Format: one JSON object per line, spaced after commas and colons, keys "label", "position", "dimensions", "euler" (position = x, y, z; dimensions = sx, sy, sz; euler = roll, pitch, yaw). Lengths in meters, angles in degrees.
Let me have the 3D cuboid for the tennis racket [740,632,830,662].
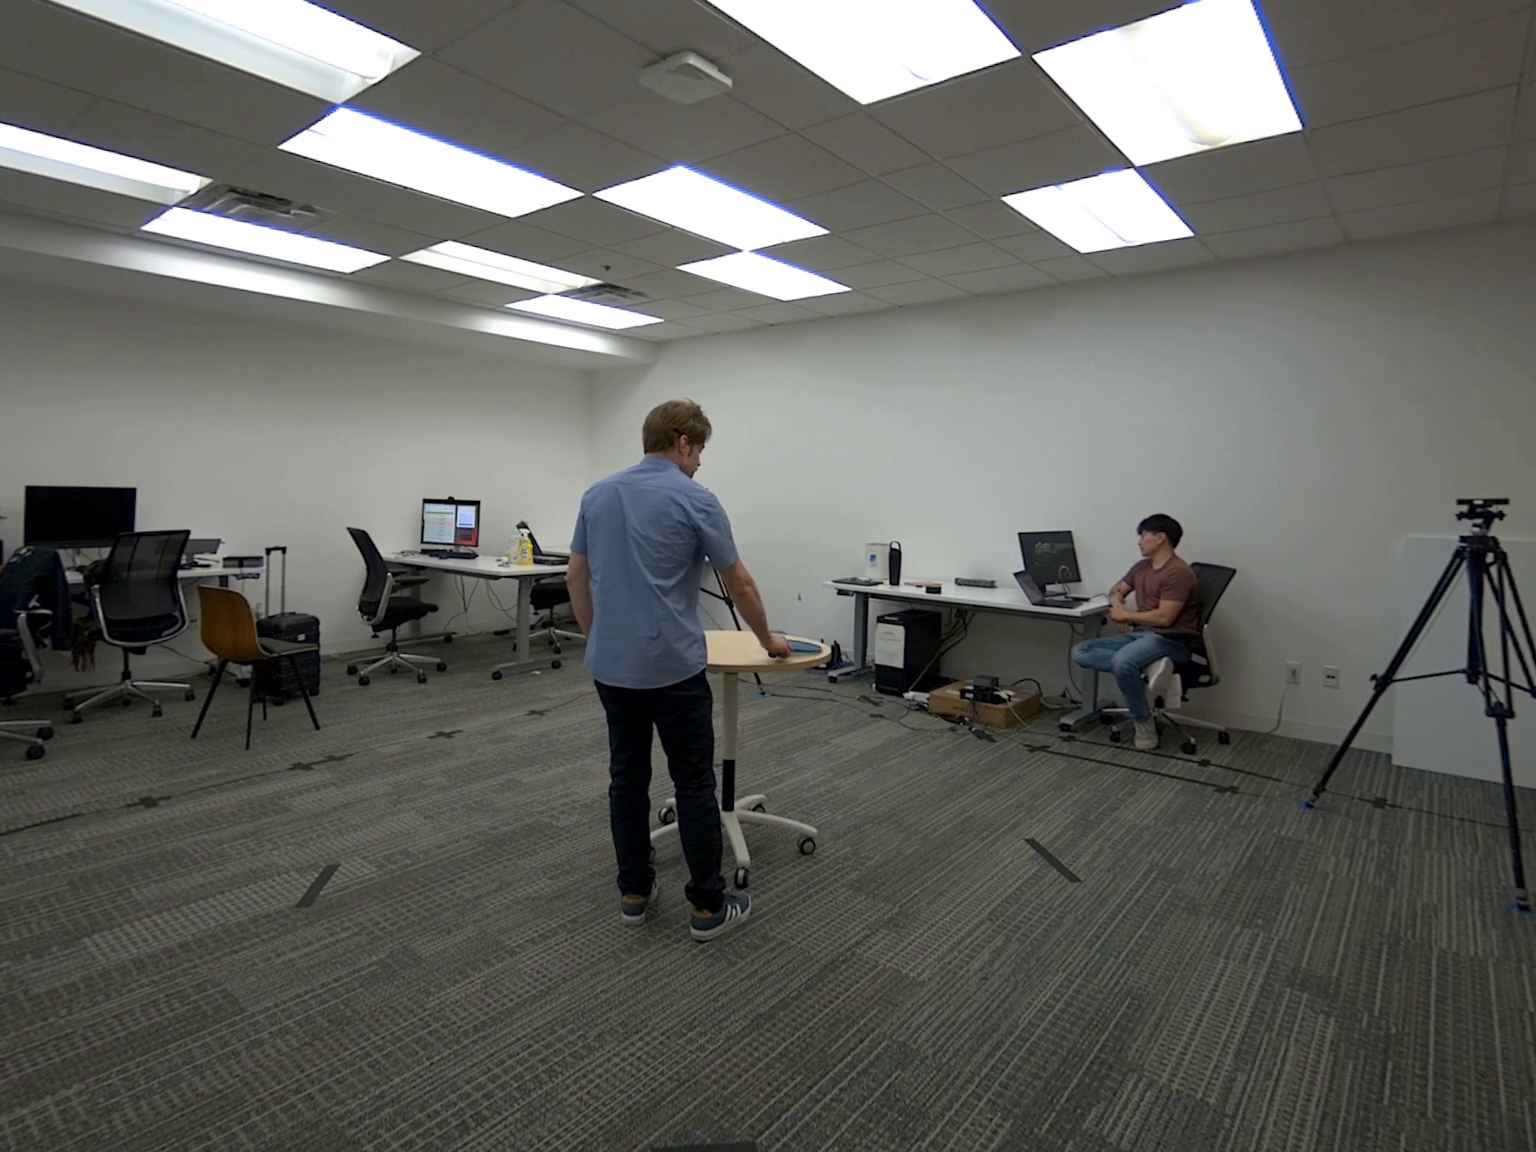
{"label": "tennis racket", "position": [0.070, 0.259, 3.150], "dimensions": [0.219, 0.032, 0.424], "euler": [7, 4, 19]}
